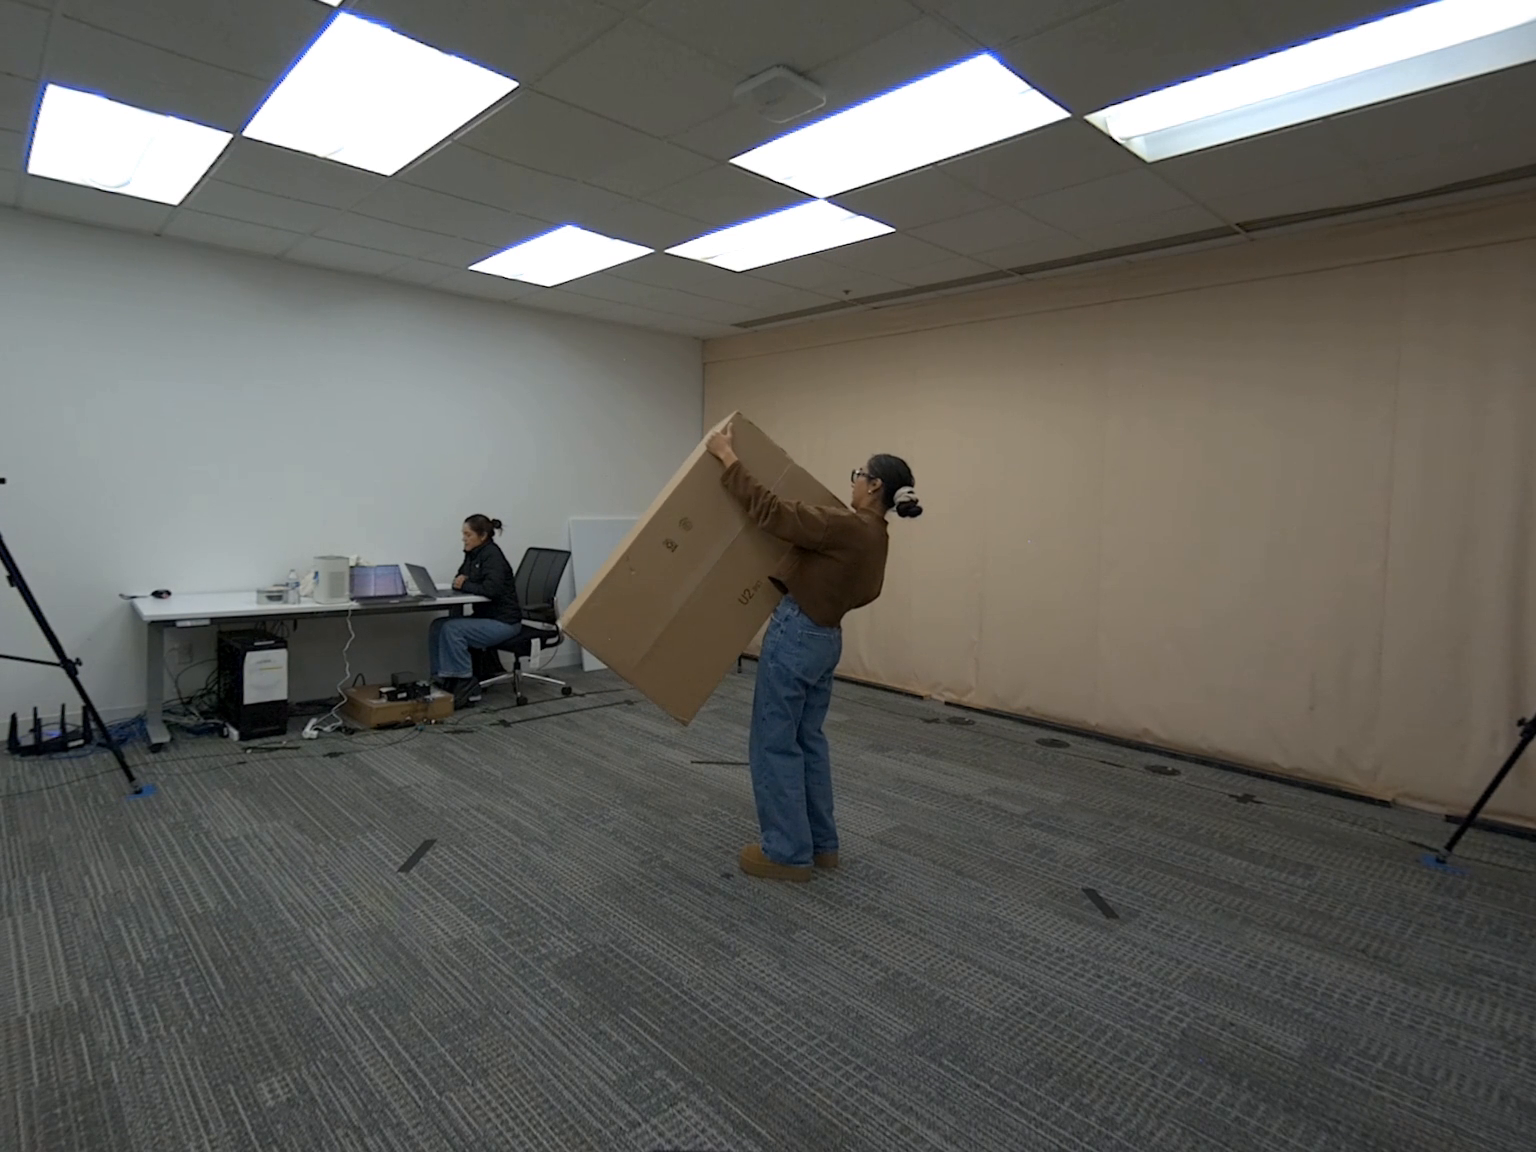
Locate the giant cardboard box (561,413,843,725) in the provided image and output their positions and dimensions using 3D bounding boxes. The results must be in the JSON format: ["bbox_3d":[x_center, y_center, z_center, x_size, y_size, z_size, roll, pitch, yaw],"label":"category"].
[{"bbox_3d":[-0.271,-0.034,3.262,0.571,1.027,0.430,39,-11,-11],"label":"giant cardboard box"}]
